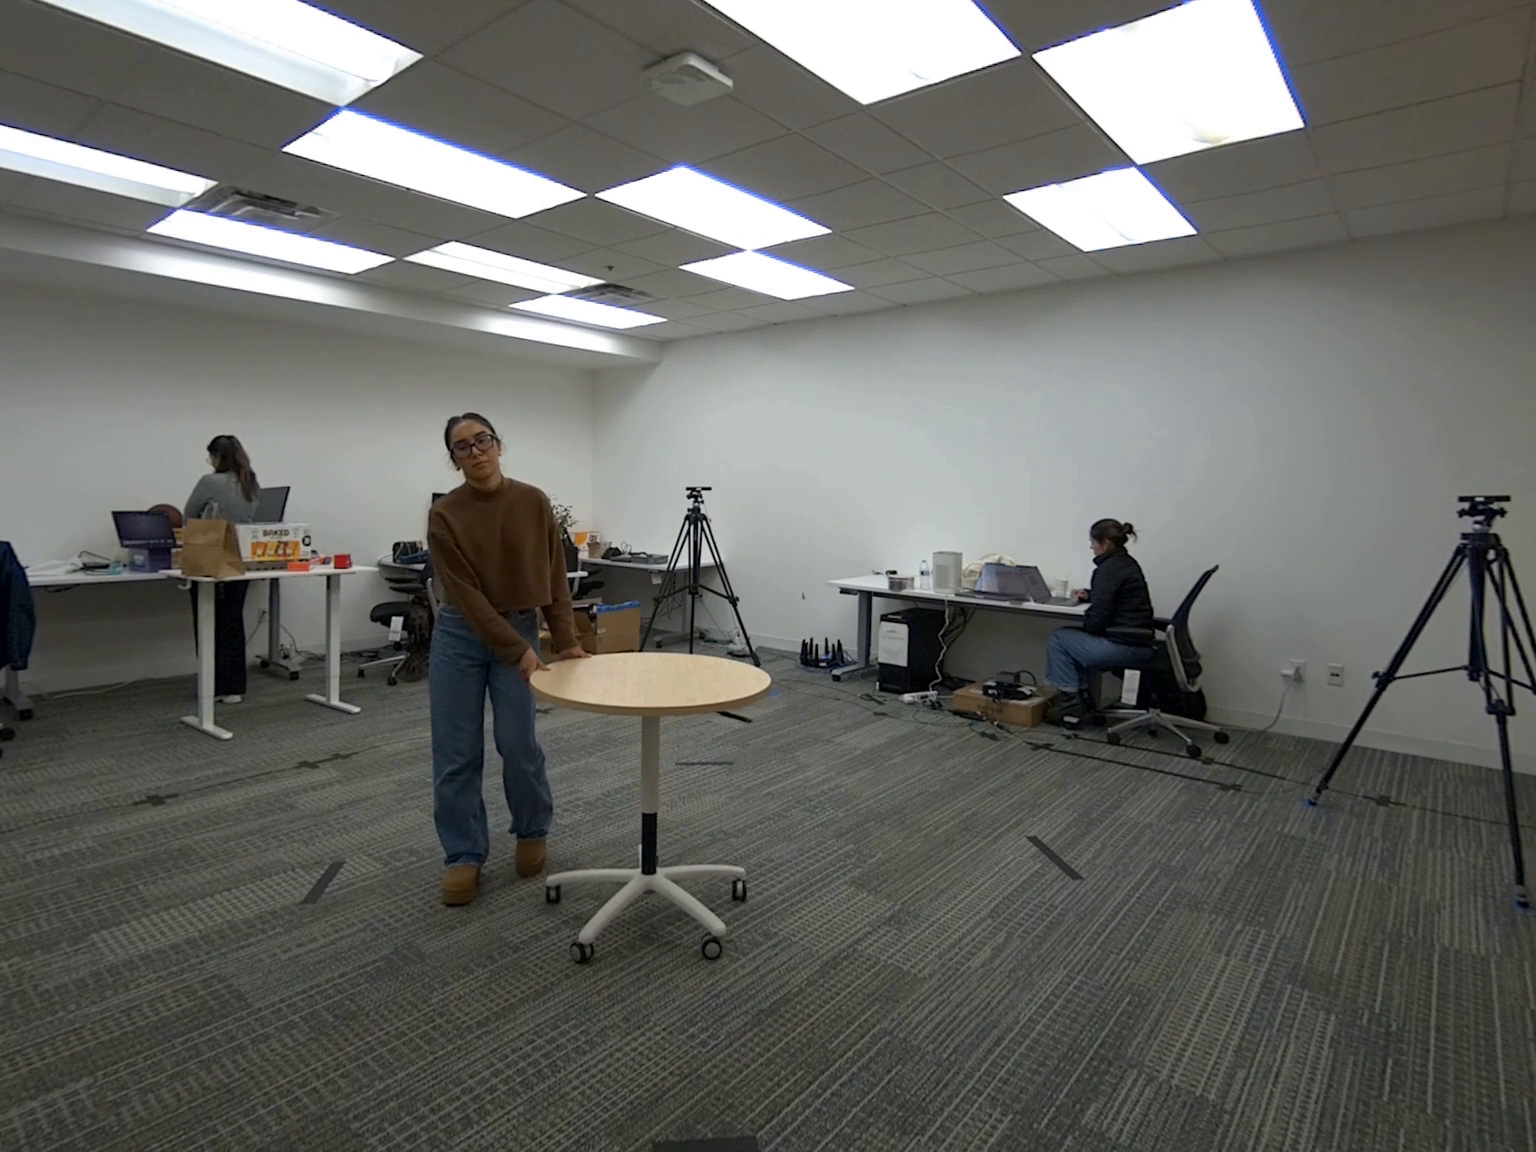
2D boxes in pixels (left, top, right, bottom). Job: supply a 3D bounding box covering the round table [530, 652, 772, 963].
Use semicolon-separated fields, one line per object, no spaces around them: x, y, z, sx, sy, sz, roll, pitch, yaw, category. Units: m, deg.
-0.374;0.705;2.749;0.784;0.784;0.789;0;5;-2;round table
